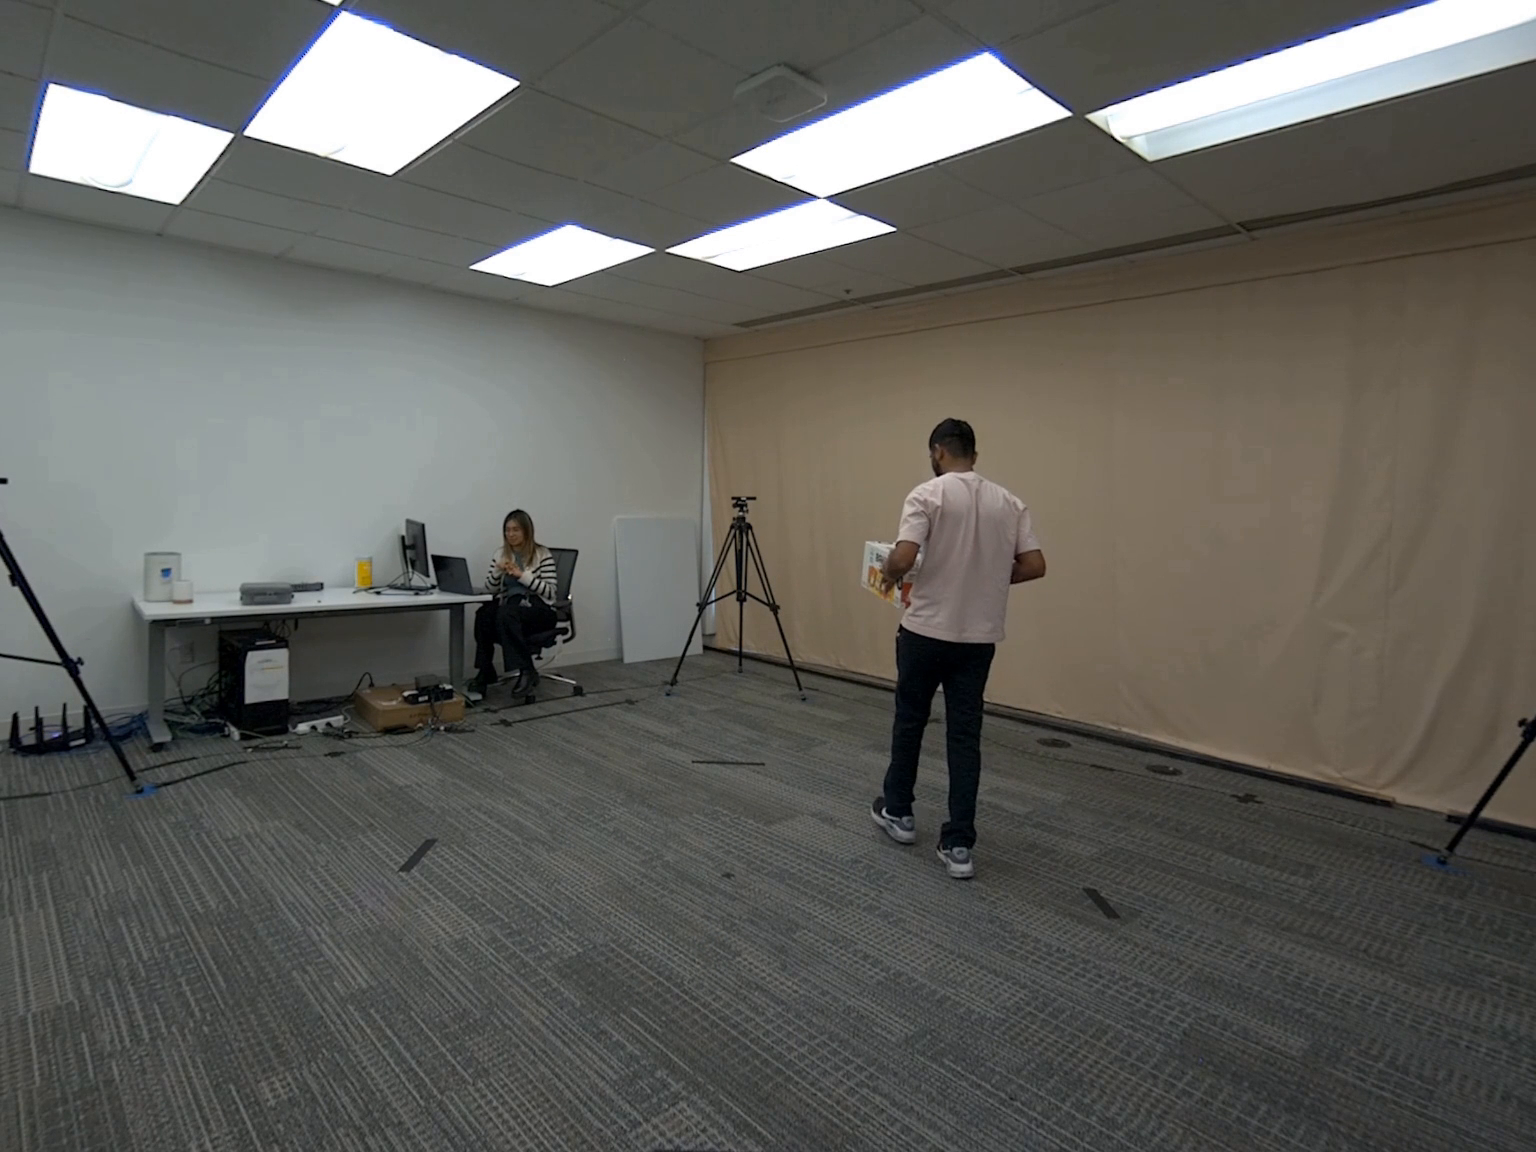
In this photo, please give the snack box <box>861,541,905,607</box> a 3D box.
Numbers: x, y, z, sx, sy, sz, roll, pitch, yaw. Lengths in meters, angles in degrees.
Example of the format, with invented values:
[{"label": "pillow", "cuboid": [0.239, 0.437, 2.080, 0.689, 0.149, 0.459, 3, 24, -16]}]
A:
[{"label": "snack box", "cuboid": [0.629, -0.007, 3.554, 0.336, 0.204, 0.413, 2, 11, -16]}]
